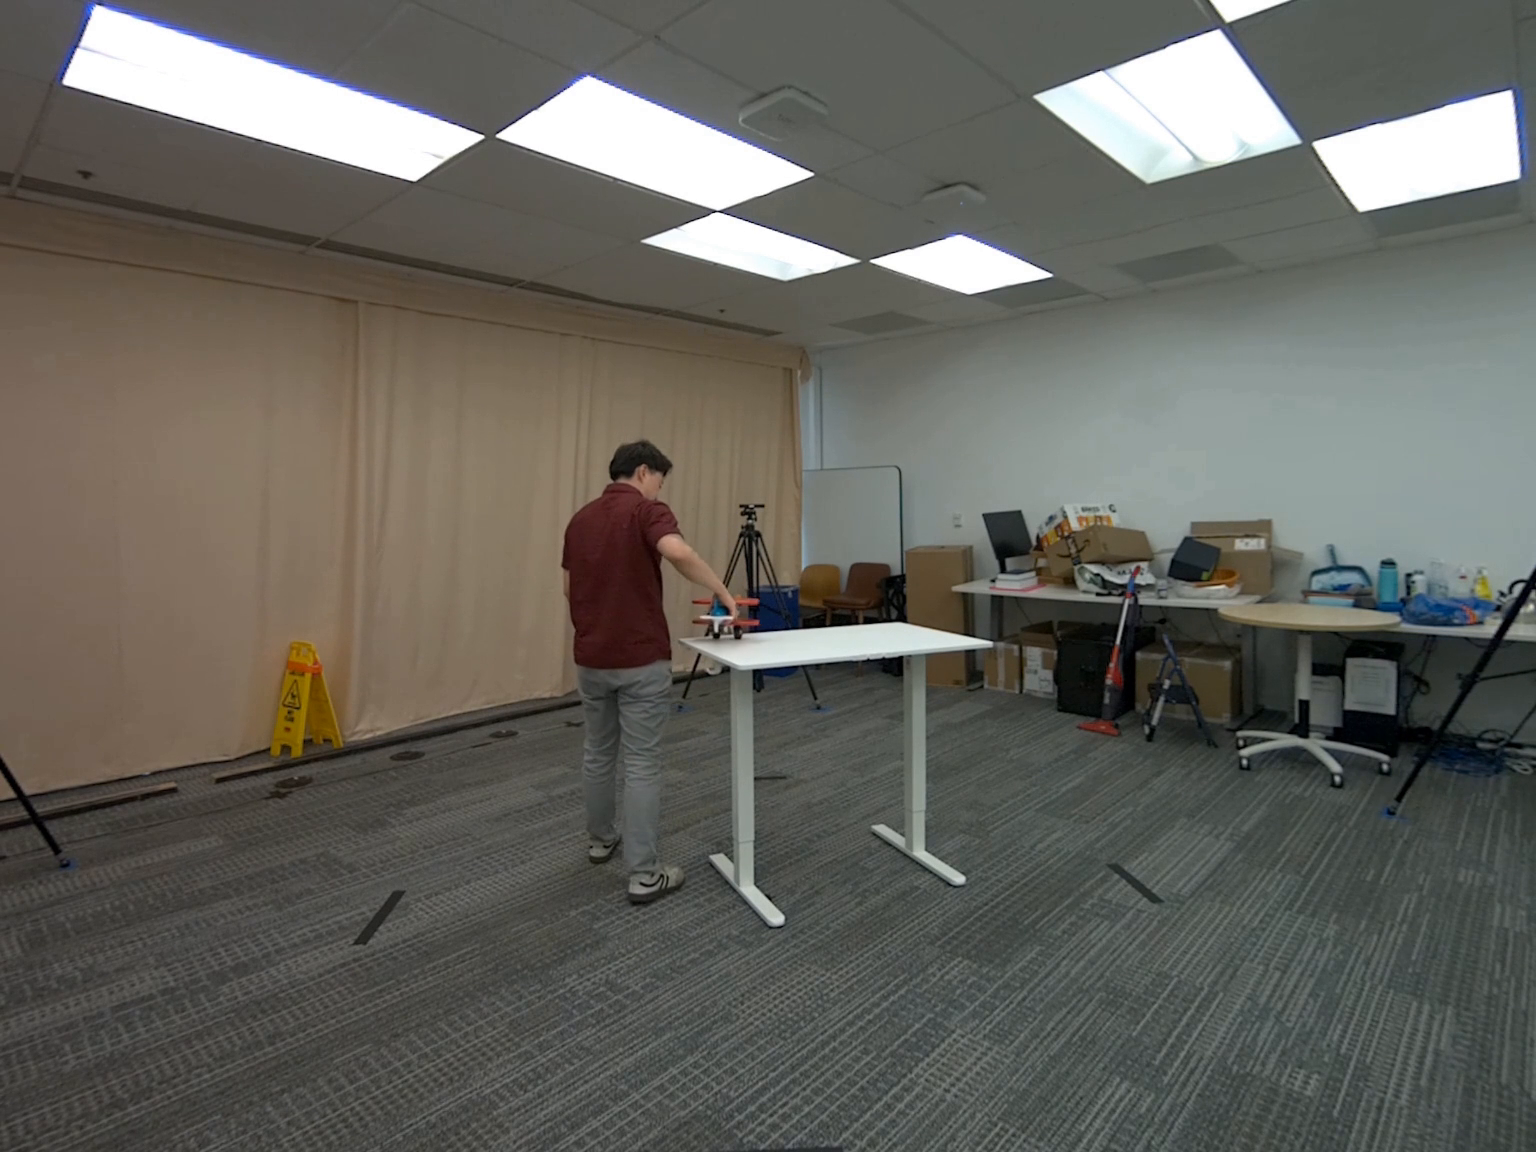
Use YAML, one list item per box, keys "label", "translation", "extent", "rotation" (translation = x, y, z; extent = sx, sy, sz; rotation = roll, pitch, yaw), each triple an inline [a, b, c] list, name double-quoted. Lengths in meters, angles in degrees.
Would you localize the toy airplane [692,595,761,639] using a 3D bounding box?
- label: "toy airplane"
  translation: [-0.143, 0.152, 3.138]
  extent: [0.246, 0.157, 0.262]
  rotation: [5, -11, -17]
